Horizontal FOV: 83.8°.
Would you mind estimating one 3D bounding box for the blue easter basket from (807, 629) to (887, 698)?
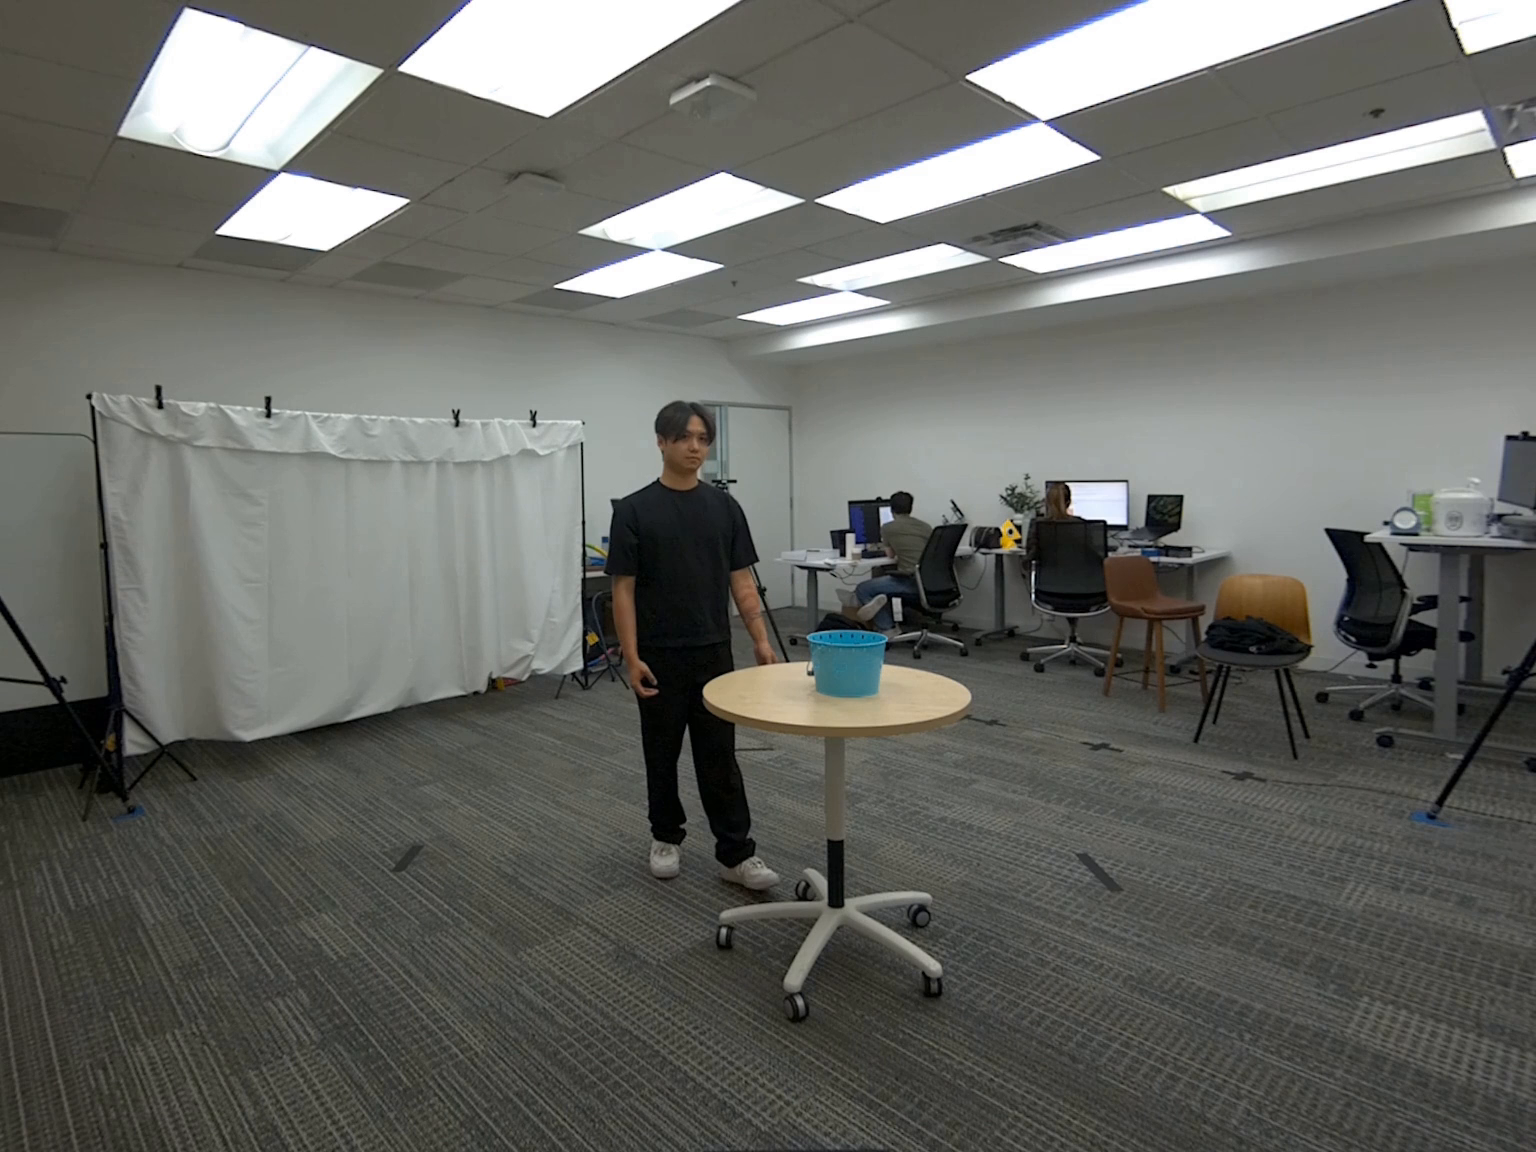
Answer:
[{"bbox_3d":[0.238,0.257,2.473,0.243,0.155,0.245,-1,6,-2],"label":"blue easter basket"}]
